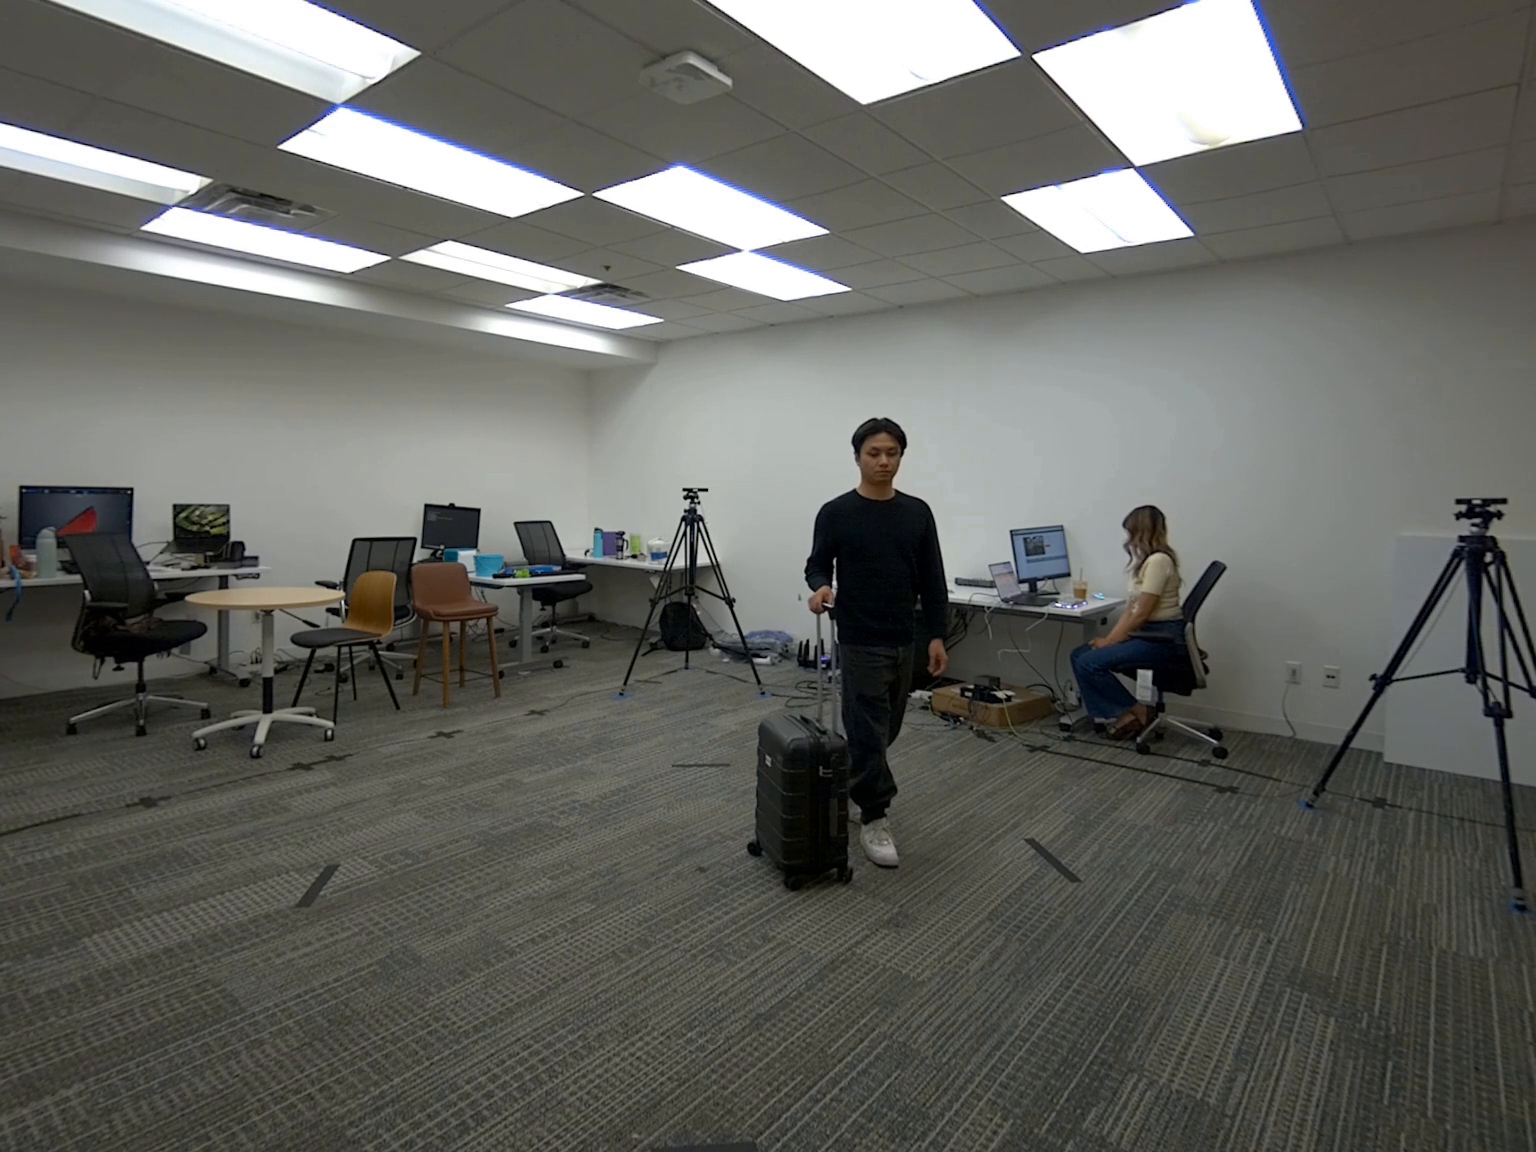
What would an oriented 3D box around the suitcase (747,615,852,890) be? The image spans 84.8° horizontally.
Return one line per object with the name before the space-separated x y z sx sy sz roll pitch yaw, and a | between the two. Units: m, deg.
suitcase | 0.109 0.596 3.095 0.252 0.975 0.392 -2 4 -19
